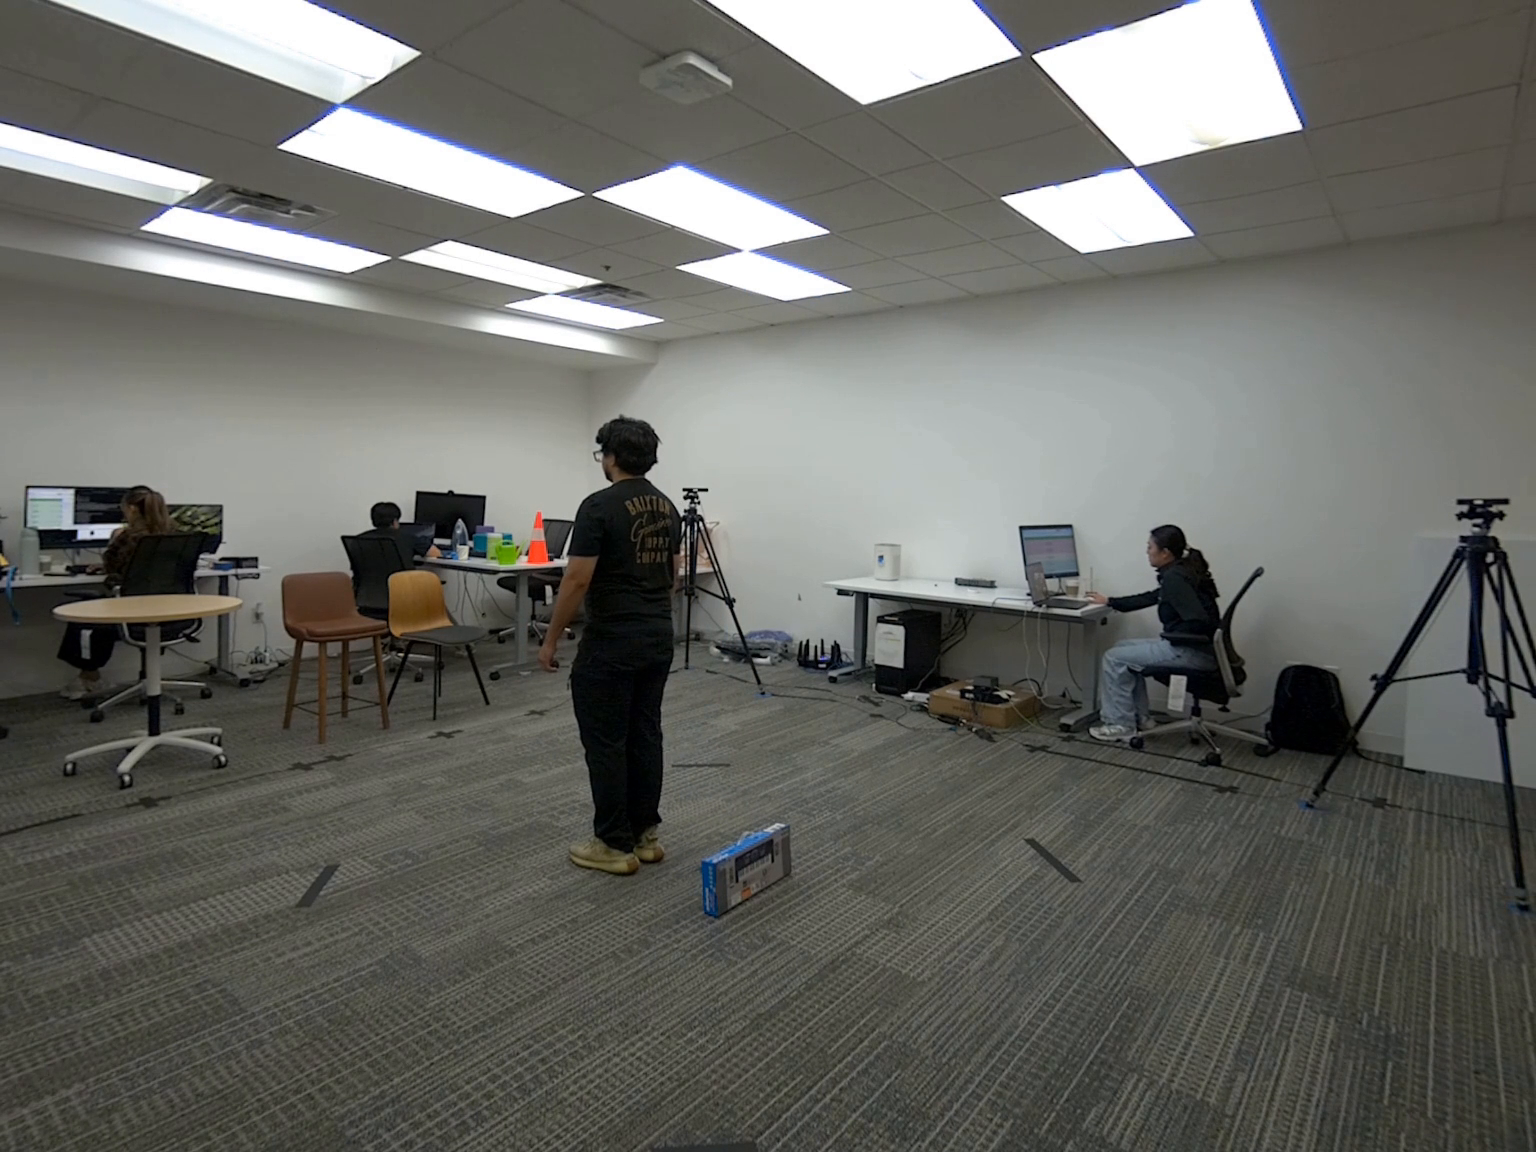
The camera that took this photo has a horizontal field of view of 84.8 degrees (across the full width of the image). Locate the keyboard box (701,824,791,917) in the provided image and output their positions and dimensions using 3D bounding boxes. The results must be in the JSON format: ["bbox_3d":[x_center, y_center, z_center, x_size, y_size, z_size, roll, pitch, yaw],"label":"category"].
[{"bbox_3d":[-0.072,1.002,2.936,0.061,0.176,0.424,-2,2,36],"label":"keyboard box"}]
